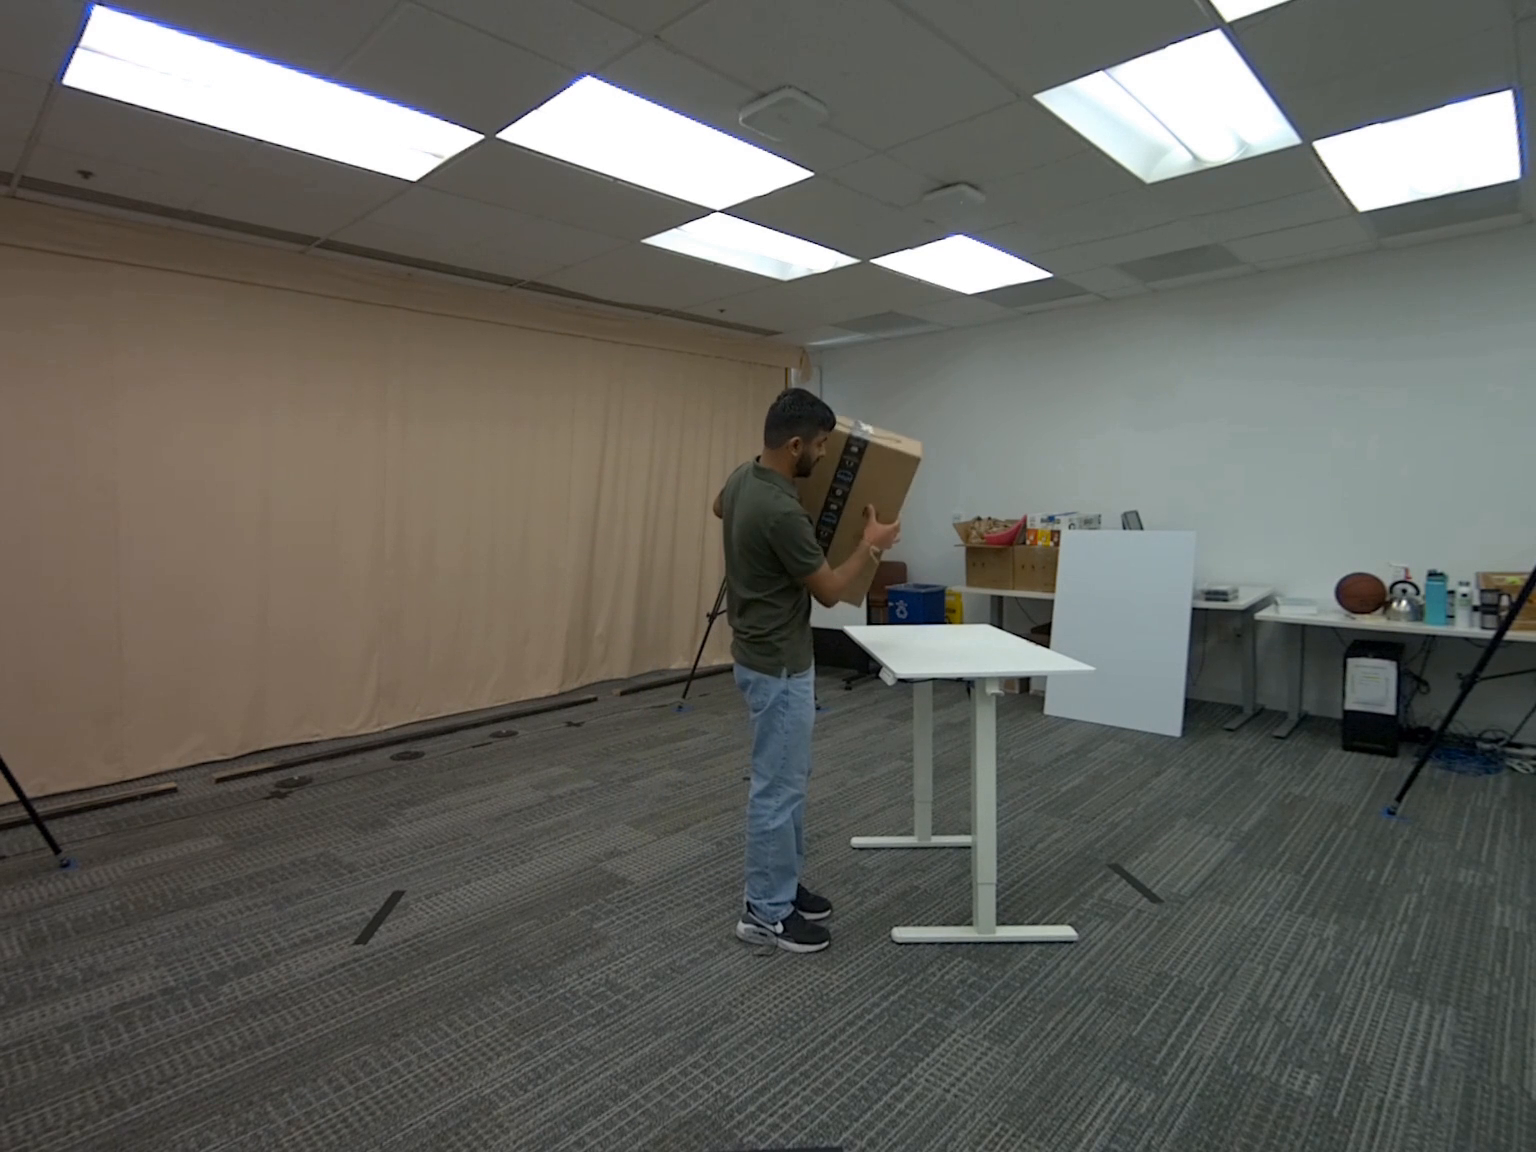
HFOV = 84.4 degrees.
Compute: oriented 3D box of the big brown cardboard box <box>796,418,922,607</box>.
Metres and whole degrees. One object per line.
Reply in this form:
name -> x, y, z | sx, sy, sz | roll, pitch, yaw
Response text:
big brown cardboard box -> 0.229, -0.224, 2.901 | 0.420, 0.585, 0.233 | 21, 24, 4
